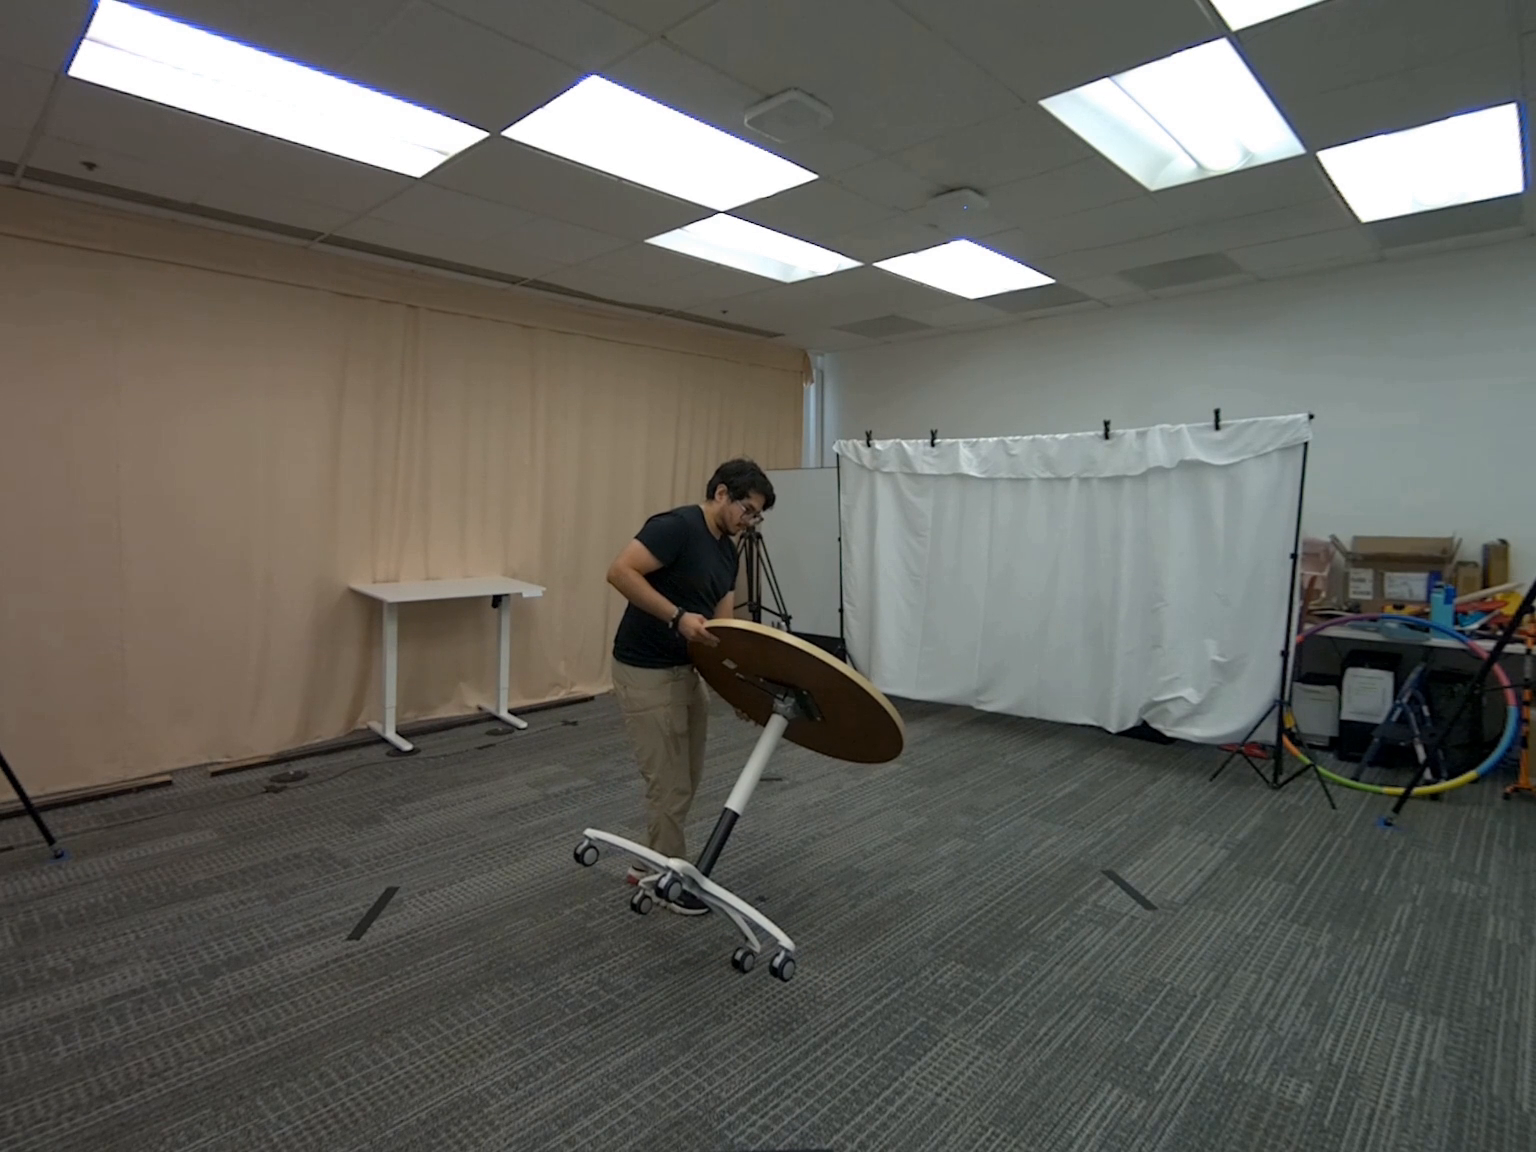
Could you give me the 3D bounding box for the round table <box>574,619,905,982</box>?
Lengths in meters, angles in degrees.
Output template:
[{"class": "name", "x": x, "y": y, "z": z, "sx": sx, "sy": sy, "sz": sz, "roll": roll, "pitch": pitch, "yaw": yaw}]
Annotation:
[{"class": "round table", "x": -0.087, "y": 0.671, "z": 2.542, "sx": 0.798, "sy": 0.786, "sz": 0.773, "roll": 24, "pitch": -29, "yaw": 12}]
